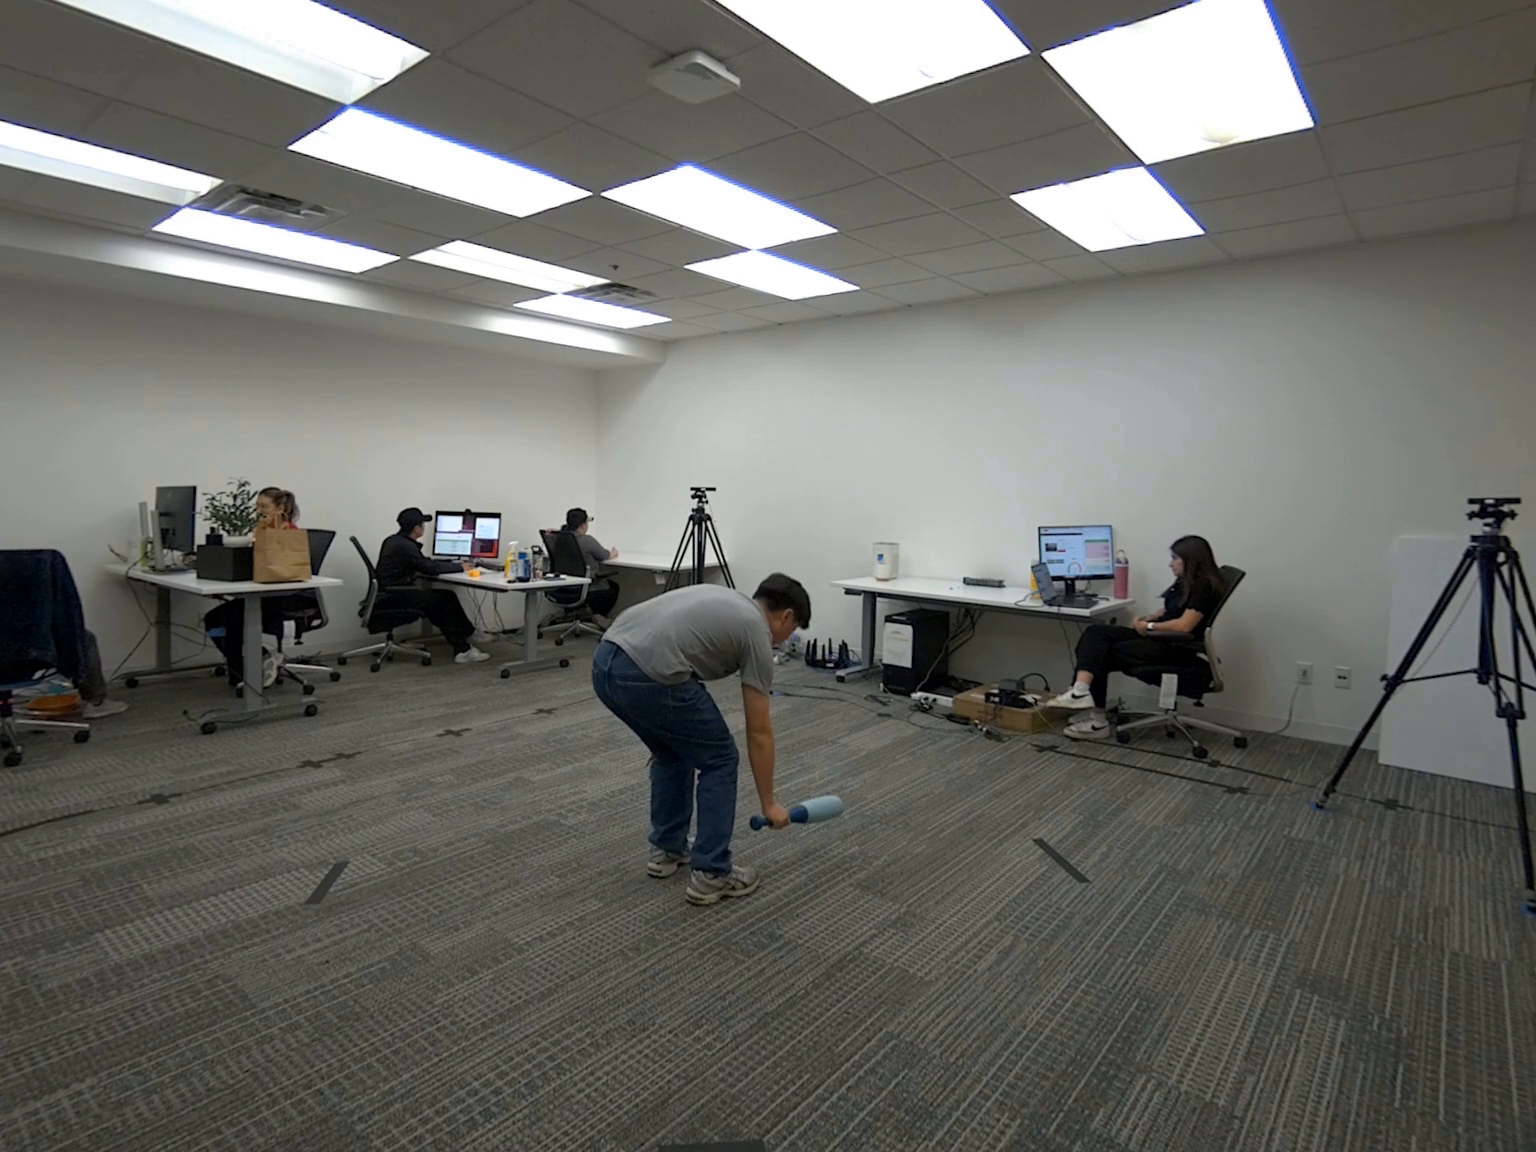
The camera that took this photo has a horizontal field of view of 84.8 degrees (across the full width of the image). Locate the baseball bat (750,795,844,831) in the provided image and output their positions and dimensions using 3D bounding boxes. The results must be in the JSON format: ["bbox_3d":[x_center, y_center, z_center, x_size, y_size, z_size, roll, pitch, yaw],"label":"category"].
[{"bbox_3d":[0.106,0.854,3.117,0.092,0.089,0.524,4,-2,39],"label":"baseball bat"}]
